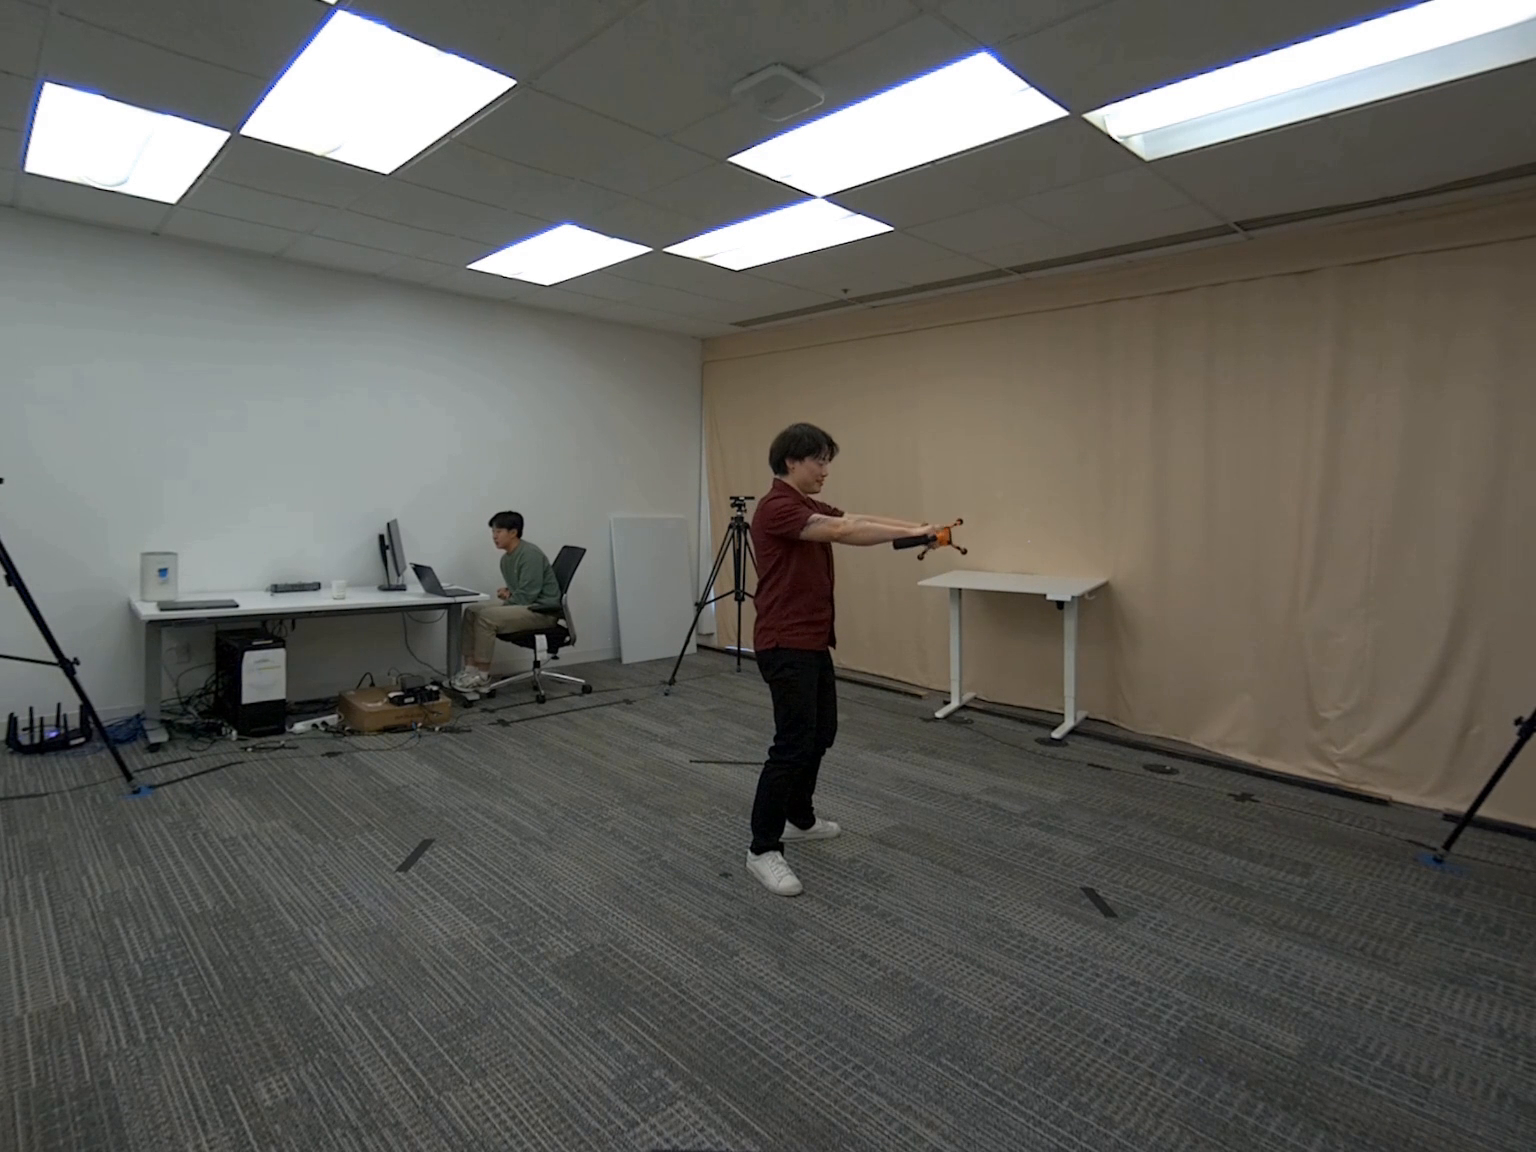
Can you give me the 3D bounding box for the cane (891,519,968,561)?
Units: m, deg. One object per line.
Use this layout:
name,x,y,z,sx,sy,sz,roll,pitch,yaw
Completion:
cane,0.607,-0.123,3.043,0.208,0.152,0.899,-11,0,13
